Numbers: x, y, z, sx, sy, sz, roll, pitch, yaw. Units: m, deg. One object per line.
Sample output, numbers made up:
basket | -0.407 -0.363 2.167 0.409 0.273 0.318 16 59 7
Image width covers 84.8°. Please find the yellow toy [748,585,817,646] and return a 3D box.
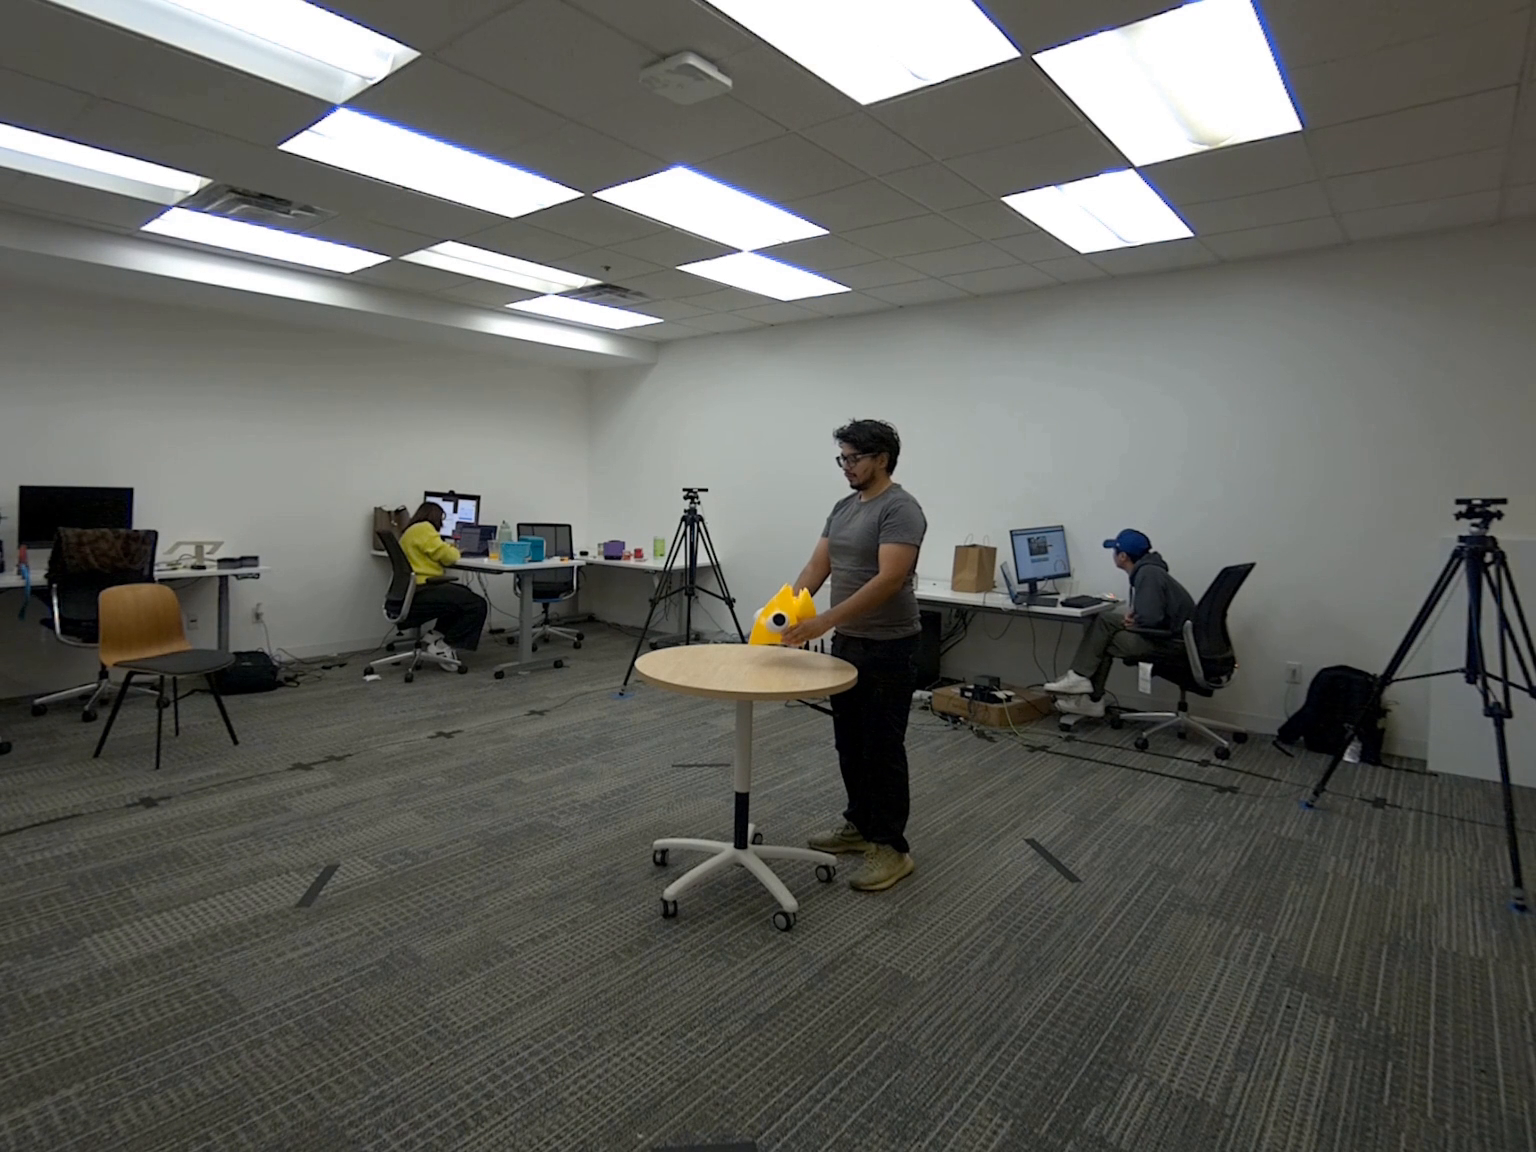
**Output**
yellow toy | 0.012 0.150 2.982 0.227 0.191 0.211 -17 13 -26
